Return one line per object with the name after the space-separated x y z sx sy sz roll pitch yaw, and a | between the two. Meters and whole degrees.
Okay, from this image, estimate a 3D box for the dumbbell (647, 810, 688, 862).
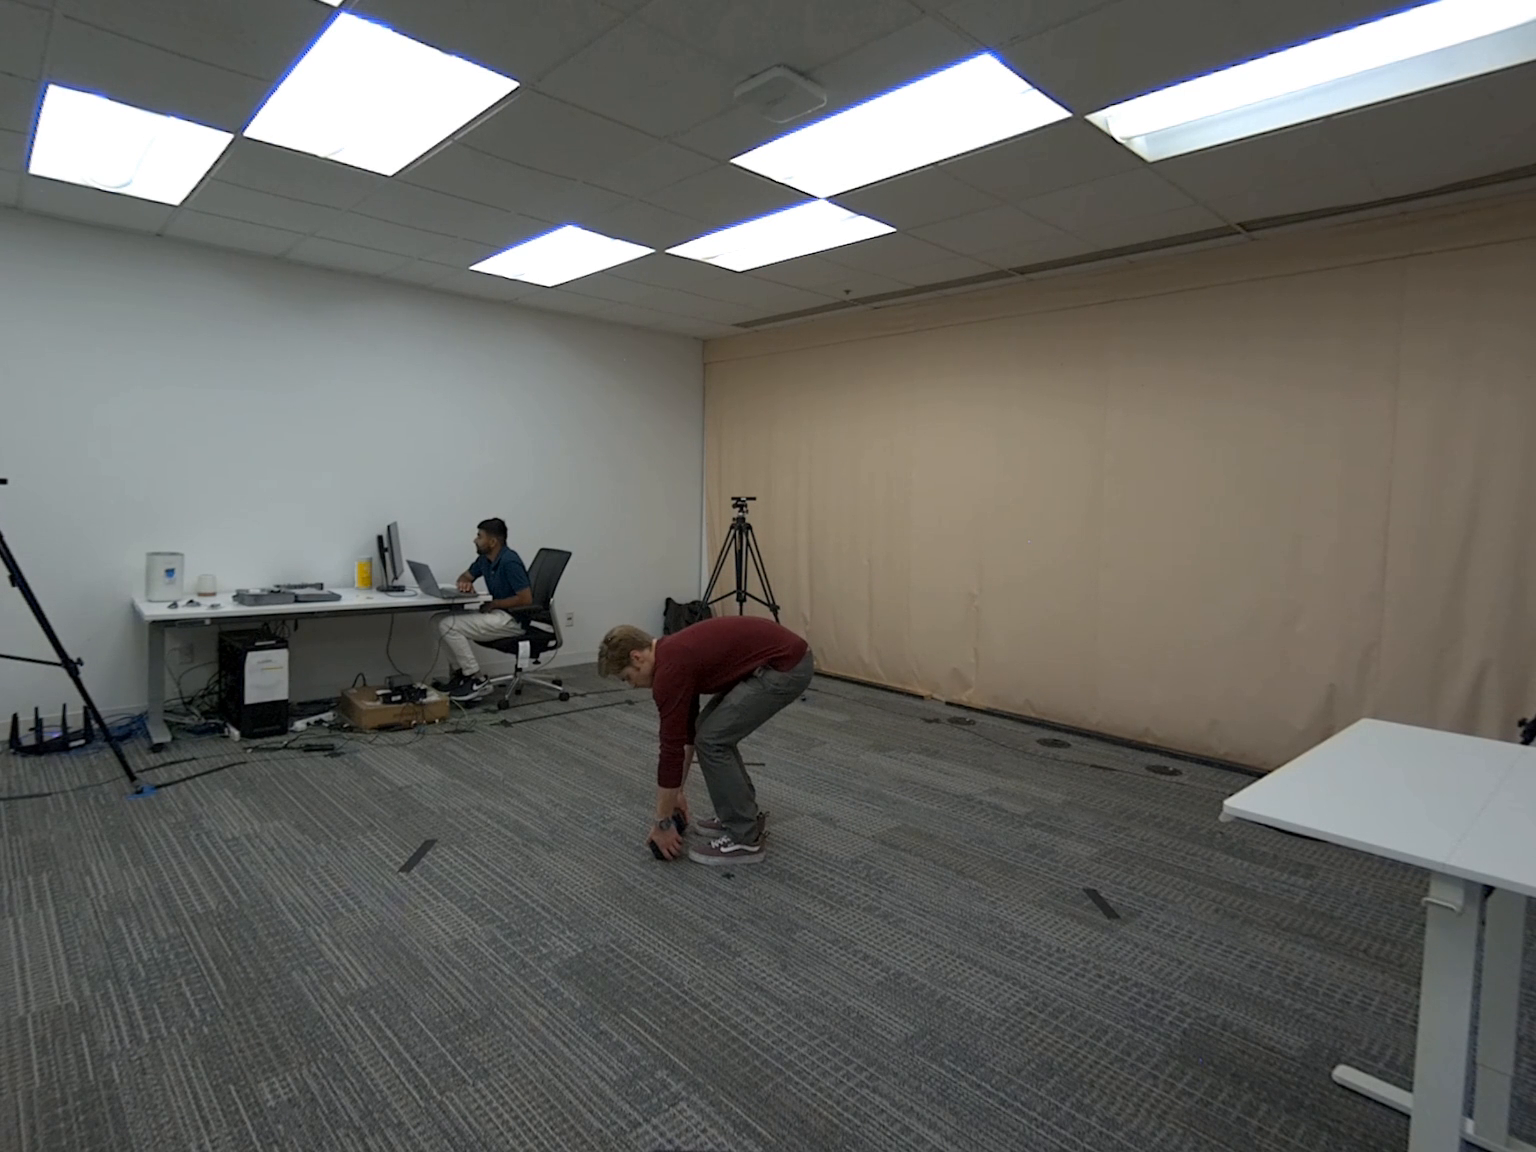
-0.408 1.030 3.366 0.109 0.123 0.293 30 4 0 | dumbbell
